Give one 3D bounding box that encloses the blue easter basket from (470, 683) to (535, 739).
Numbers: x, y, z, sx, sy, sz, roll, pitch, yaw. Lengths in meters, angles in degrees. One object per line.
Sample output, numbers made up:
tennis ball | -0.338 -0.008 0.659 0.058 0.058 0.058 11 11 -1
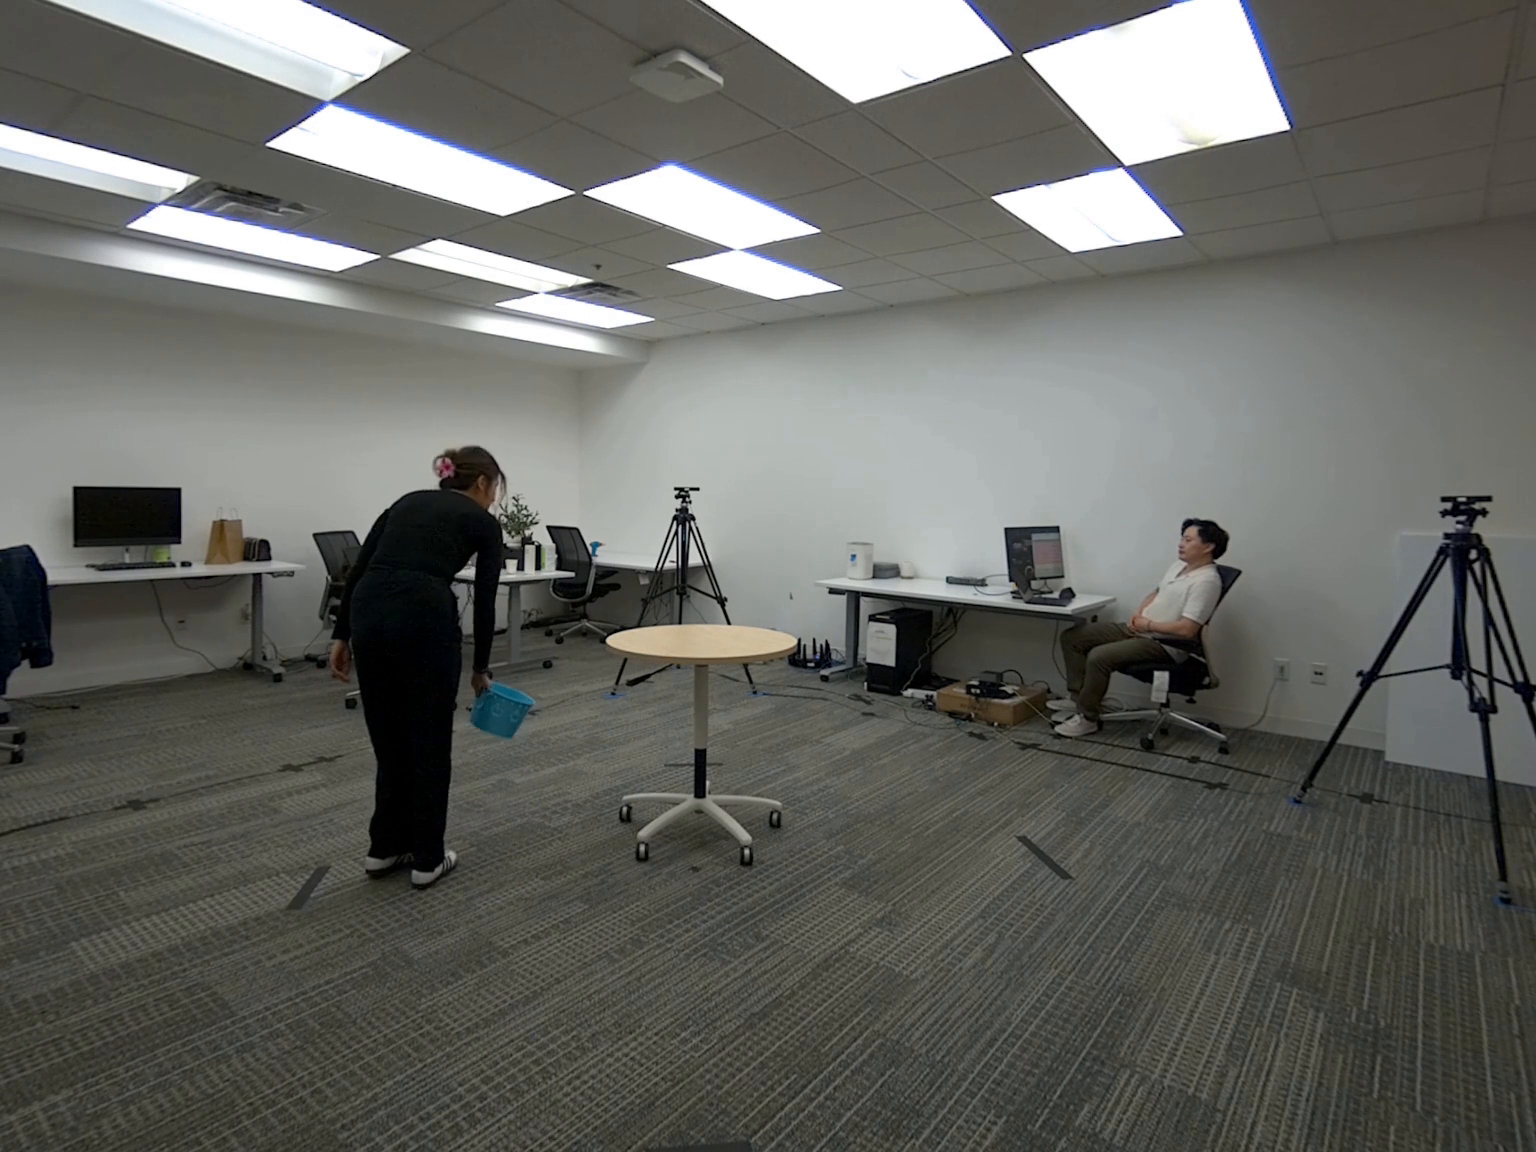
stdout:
blue easter basket | -1.044 0.520 3.267 0.244 0.156 0.243 23 -5 0
